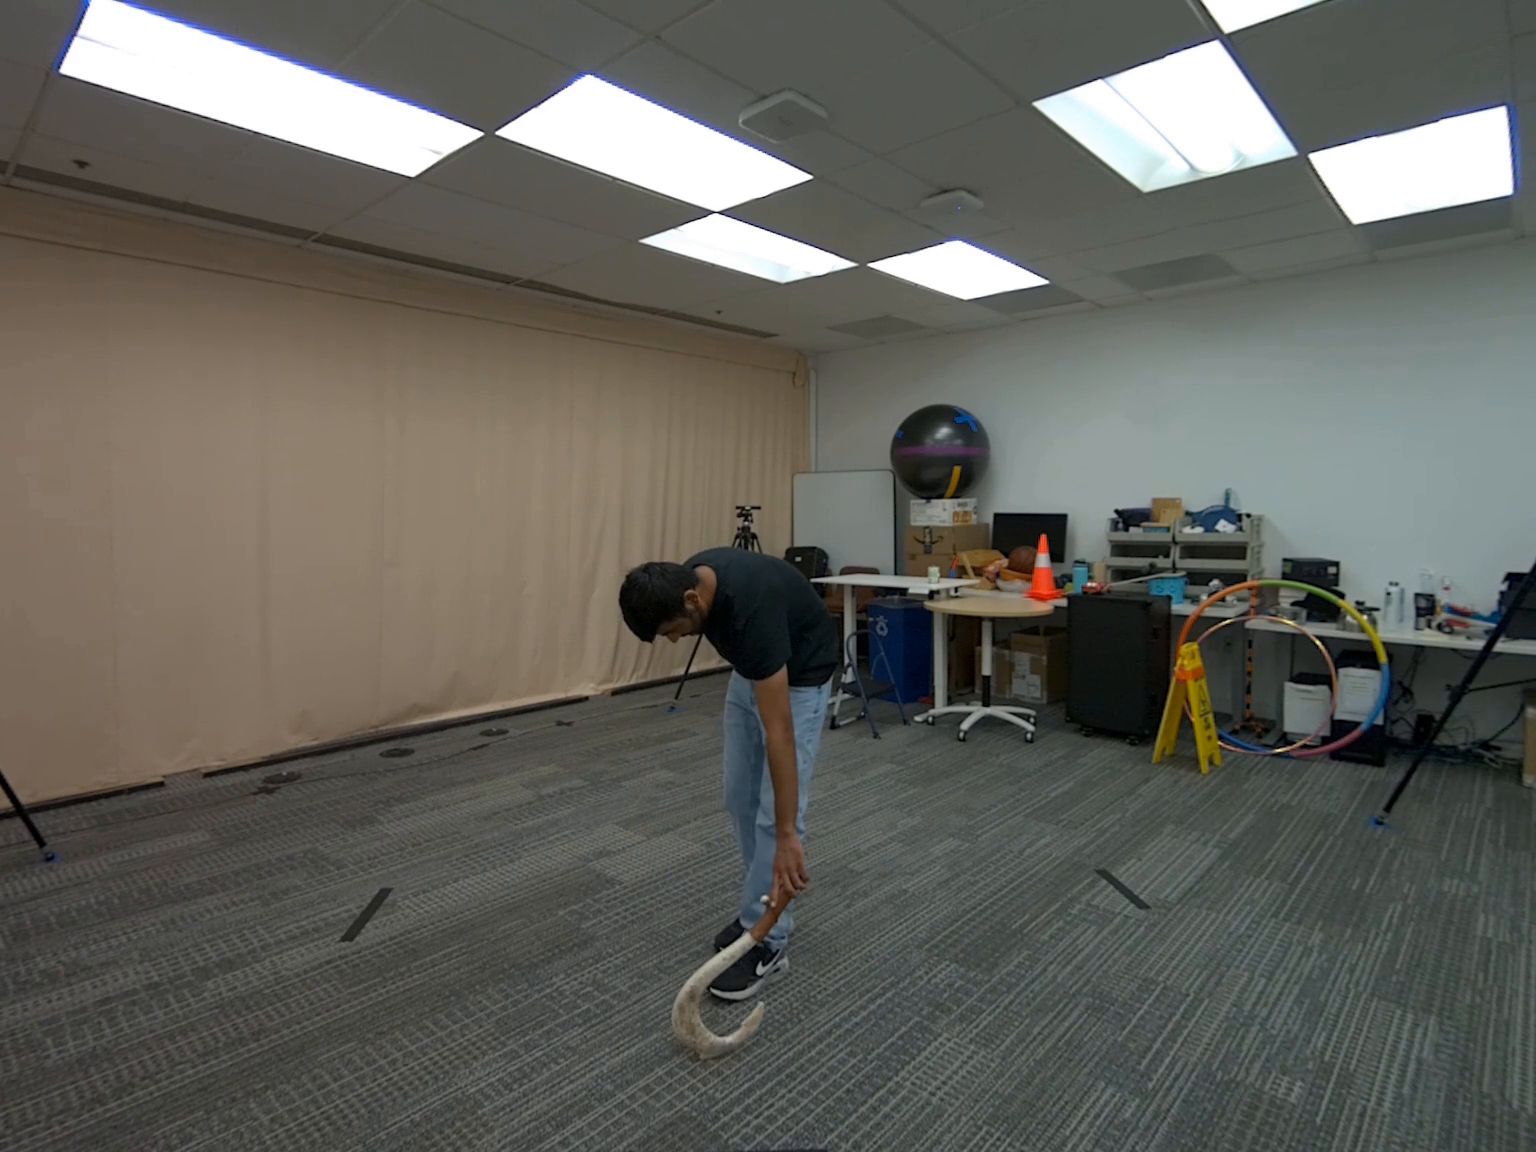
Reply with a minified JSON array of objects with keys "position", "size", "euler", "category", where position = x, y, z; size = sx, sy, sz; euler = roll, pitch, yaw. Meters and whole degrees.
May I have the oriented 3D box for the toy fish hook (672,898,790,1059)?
[{"position":[-0.034,0.998,2.163],"size":[0.222,0.505,0.049],"euler":[40,-10,-11],"category":"toy fish hook"}]
